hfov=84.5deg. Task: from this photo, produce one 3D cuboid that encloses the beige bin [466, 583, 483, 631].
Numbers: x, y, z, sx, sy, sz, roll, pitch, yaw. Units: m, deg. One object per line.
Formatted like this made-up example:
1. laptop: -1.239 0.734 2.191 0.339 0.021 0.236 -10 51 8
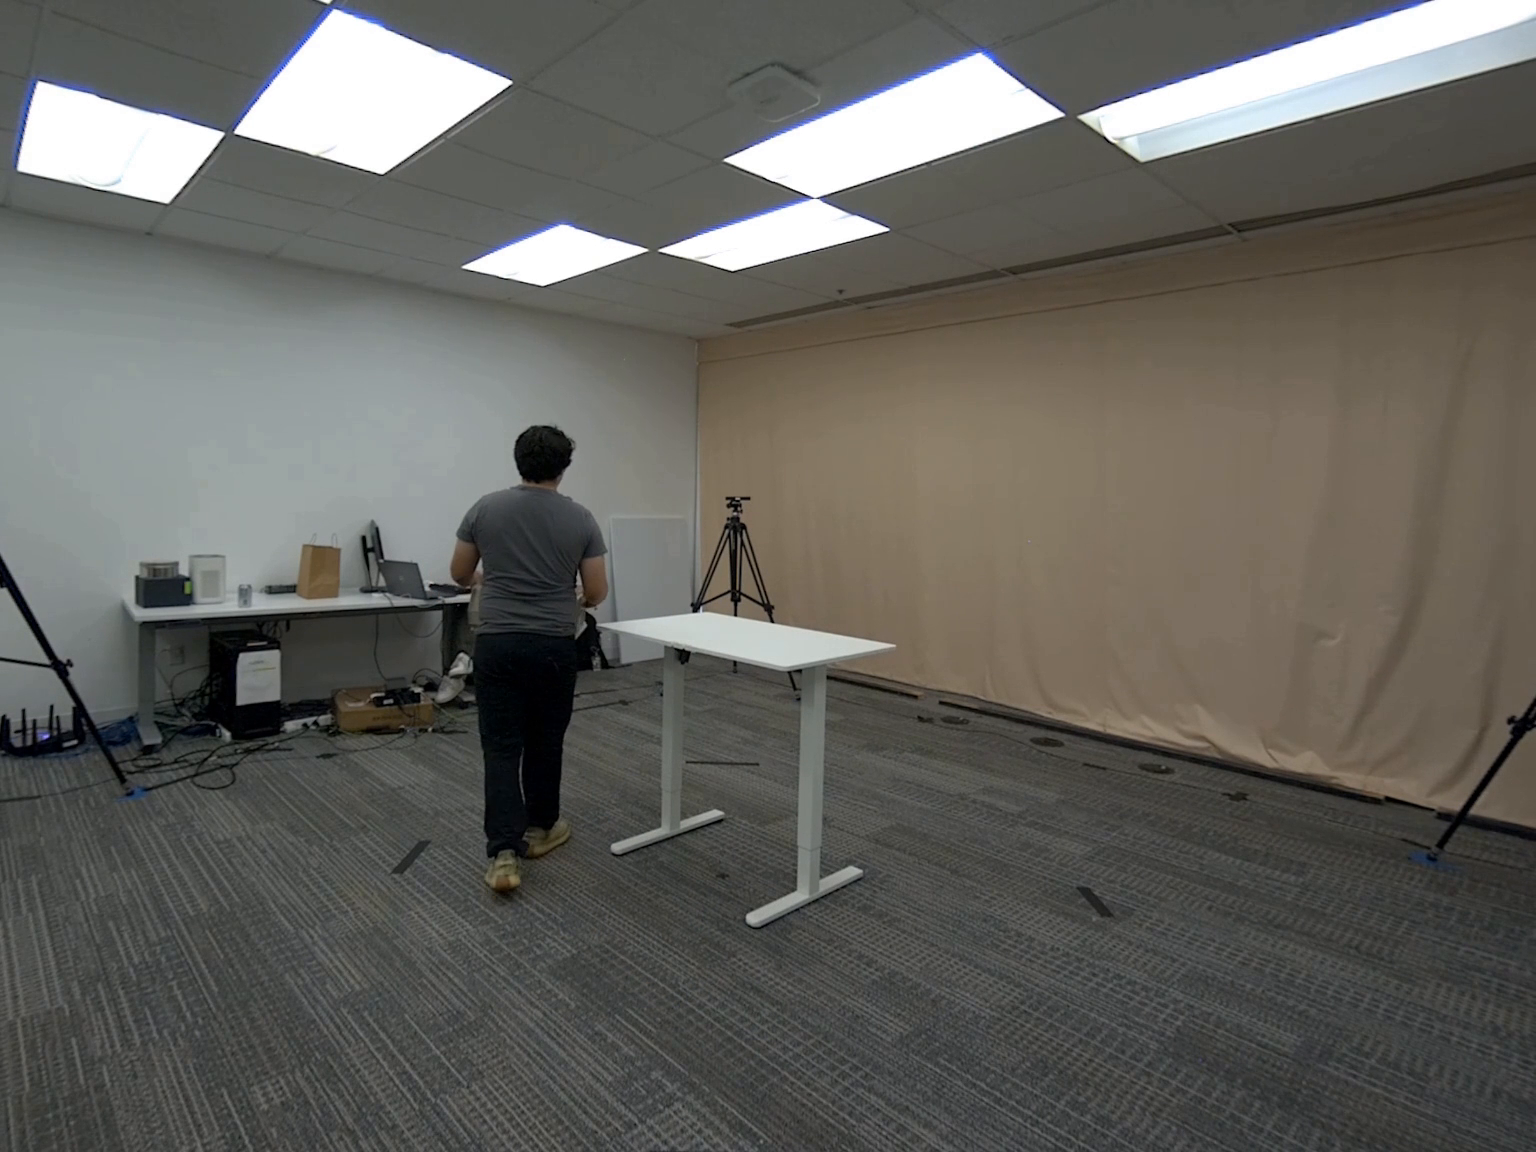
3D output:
1. beige bin: -0.981 0.133 3.455 0.422 0.188 0.379 5 5 -1
